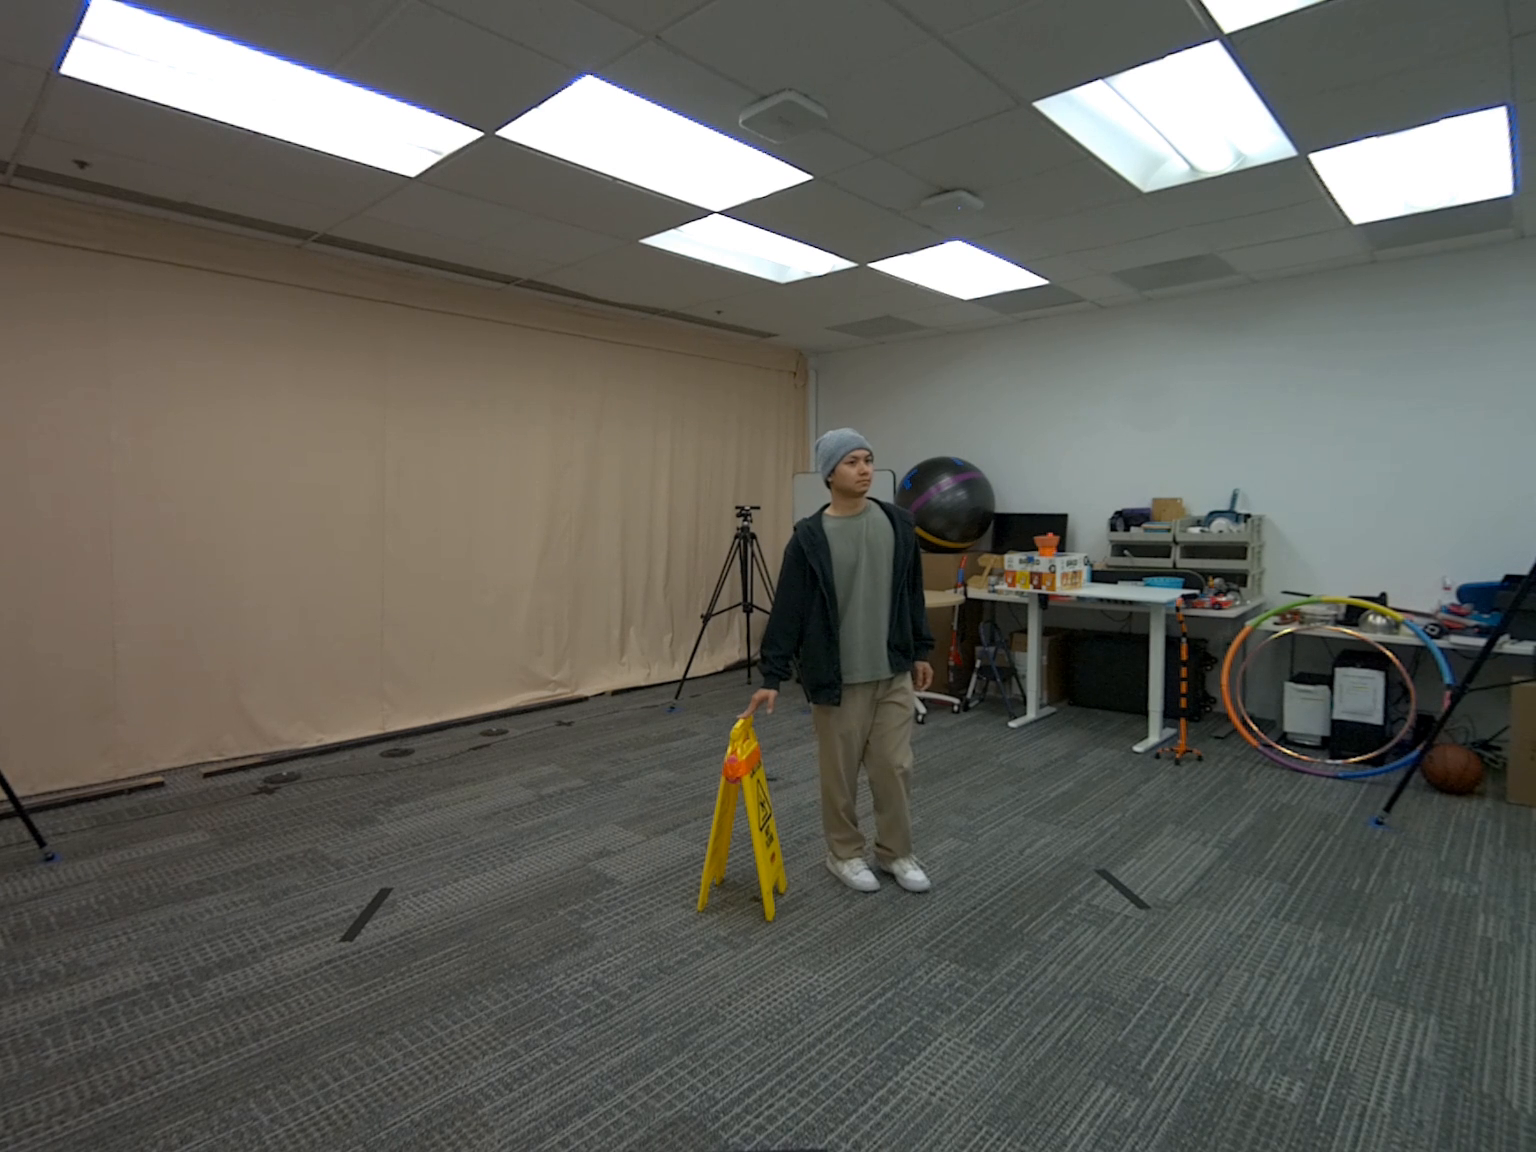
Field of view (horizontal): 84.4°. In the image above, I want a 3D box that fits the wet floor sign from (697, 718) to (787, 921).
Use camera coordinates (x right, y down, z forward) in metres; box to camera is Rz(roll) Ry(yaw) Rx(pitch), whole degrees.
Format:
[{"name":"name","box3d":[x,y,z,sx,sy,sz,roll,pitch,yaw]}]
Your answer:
[{"name":"wet floor sign","box3d":[-0.089,0.821,2.961,0.294,0.645,0.278,0,2,15]}]
